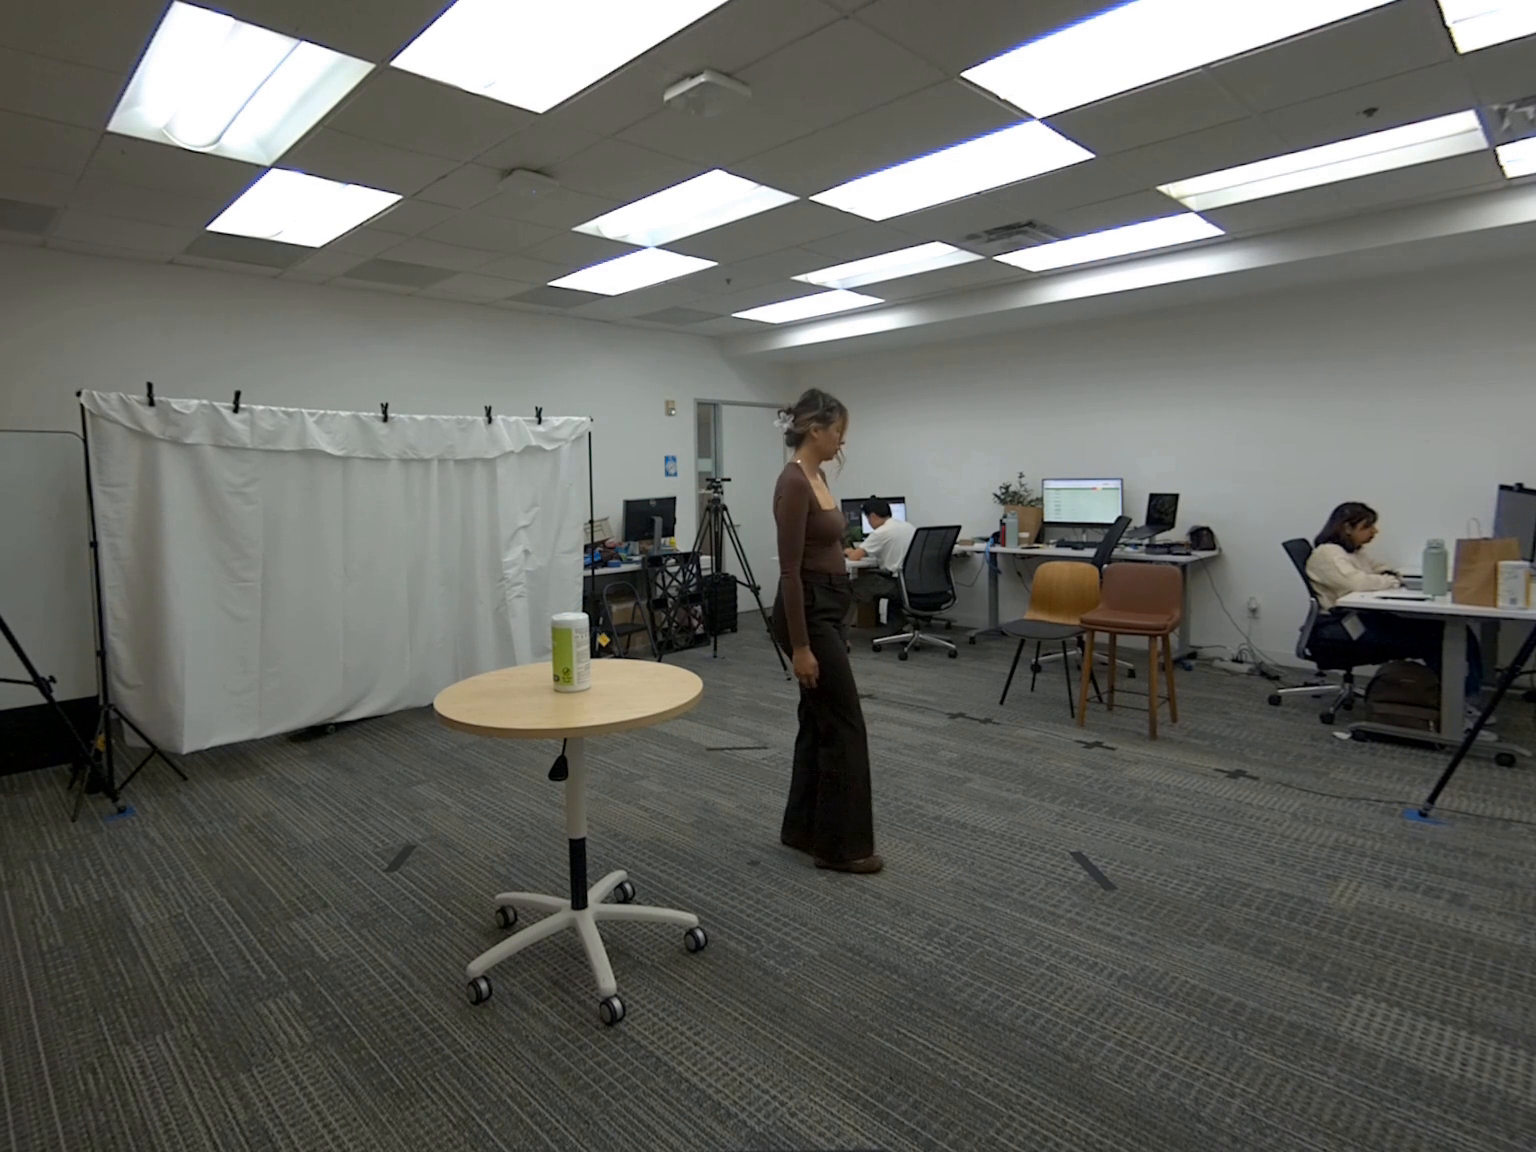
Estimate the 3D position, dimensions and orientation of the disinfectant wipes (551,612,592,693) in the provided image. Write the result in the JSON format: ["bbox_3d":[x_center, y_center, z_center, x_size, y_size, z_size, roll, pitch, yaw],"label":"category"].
[{"bbox_3d":[-0.574,0.224,2.482,0.118,0.216,0.118,-1,5,-2],"label":"disinfectant wipes"}]
